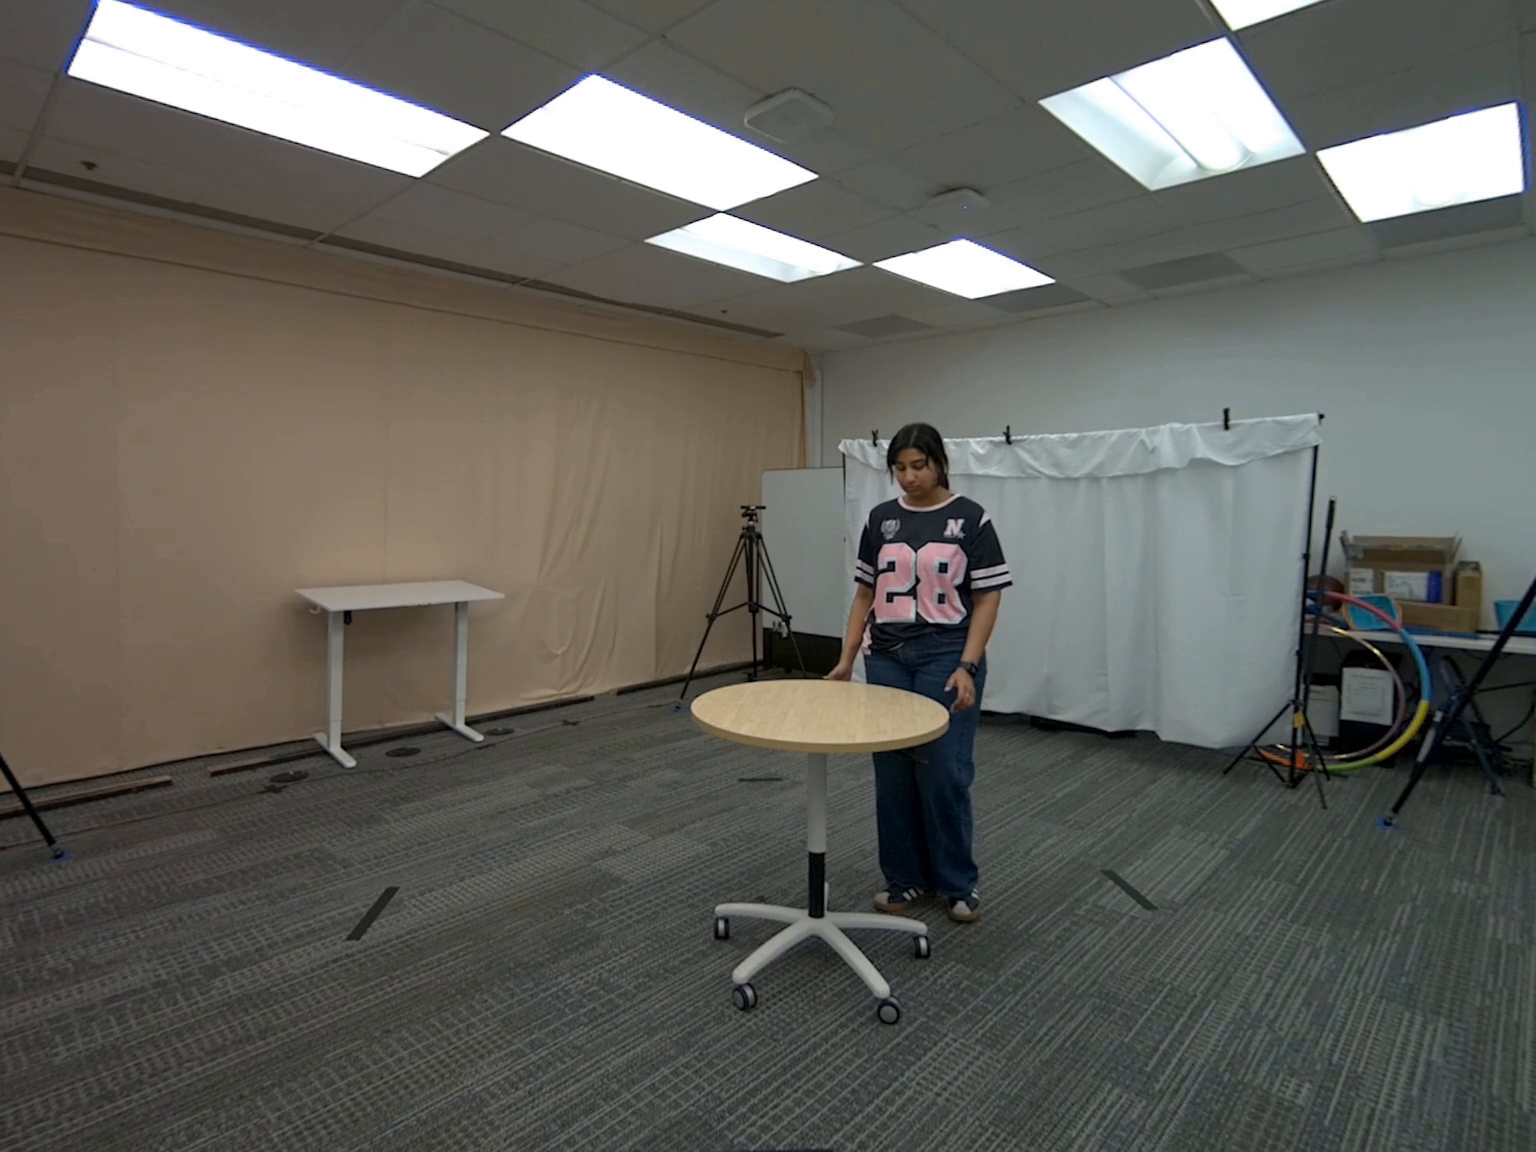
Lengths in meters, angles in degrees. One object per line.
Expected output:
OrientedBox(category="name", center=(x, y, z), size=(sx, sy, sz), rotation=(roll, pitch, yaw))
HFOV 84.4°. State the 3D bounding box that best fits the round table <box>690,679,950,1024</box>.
OrientedBox(category="round table", center=(0.146, 0.790, 2.557), size=(0.763, 0.792, 0.767), rotation=(0, 4, -2))
